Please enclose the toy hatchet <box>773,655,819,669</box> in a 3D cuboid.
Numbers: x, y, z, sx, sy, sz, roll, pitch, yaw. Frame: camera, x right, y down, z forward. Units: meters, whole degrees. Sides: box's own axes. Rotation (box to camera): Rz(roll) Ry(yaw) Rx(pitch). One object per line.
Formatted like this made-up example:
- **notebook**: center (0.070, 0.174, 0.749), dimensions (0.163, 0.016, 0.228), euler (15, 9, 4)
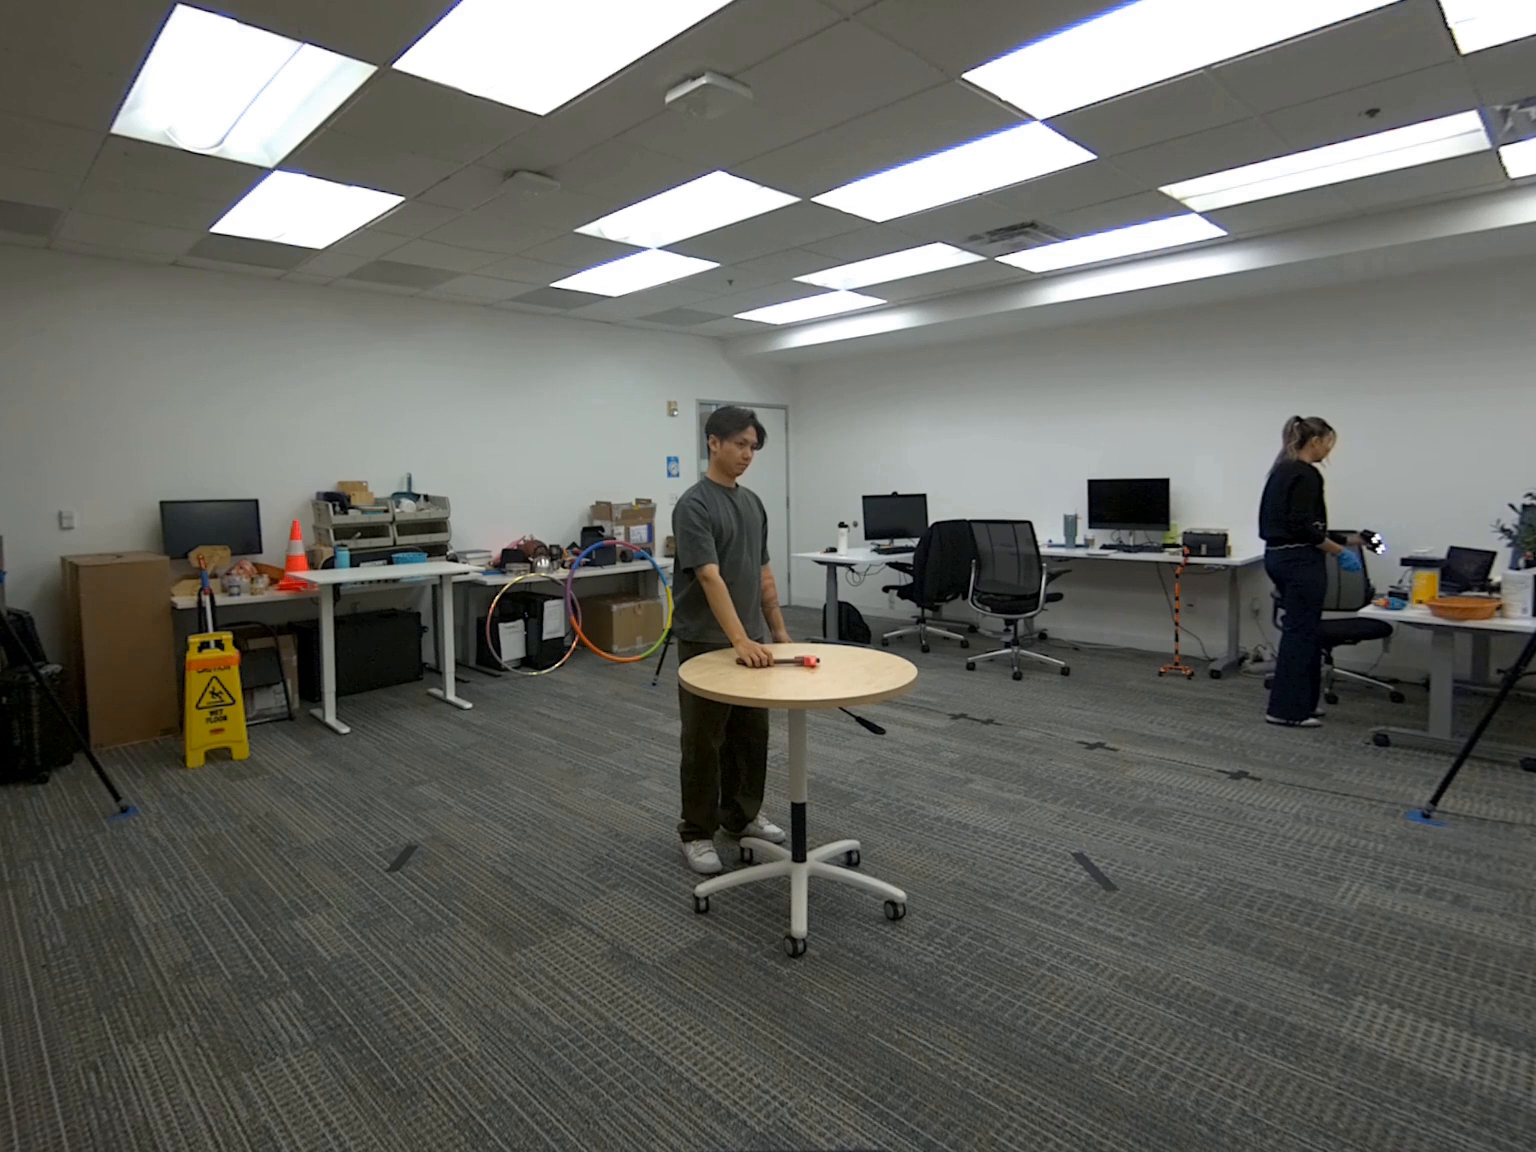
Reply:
- **toy hatchet**: center (0.041, 0.277, 2.842), dimensions (0.277, 0.029, 0.128), euler (2, 6, 27)
